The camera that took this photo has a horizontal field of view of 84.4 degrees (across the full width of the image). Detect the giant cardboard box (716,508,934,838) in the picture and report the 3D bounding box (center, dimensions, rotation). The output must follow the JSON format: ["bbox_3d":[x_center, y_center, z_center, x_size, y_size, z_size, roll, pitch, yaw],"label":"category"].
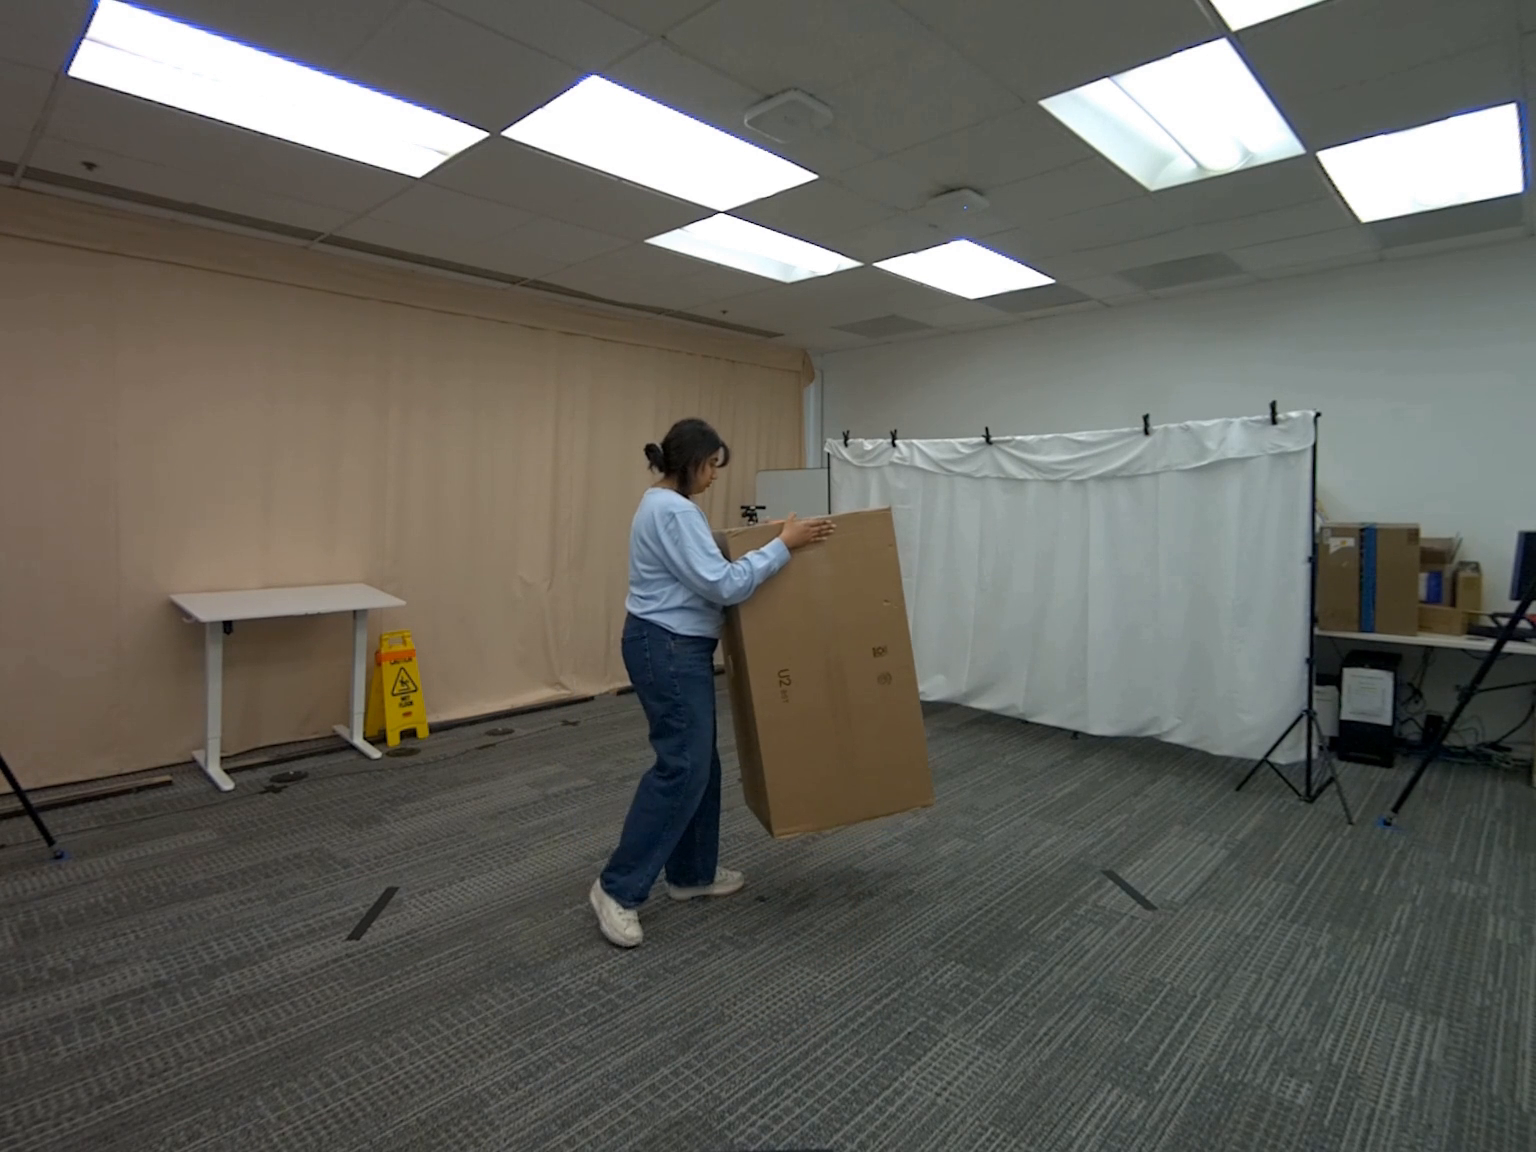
[{"bbox_3d":[0.173,0.311,2.981,0.578,1.026,0.452,-9,1,-11],"label":"giant cardboard box"}]
